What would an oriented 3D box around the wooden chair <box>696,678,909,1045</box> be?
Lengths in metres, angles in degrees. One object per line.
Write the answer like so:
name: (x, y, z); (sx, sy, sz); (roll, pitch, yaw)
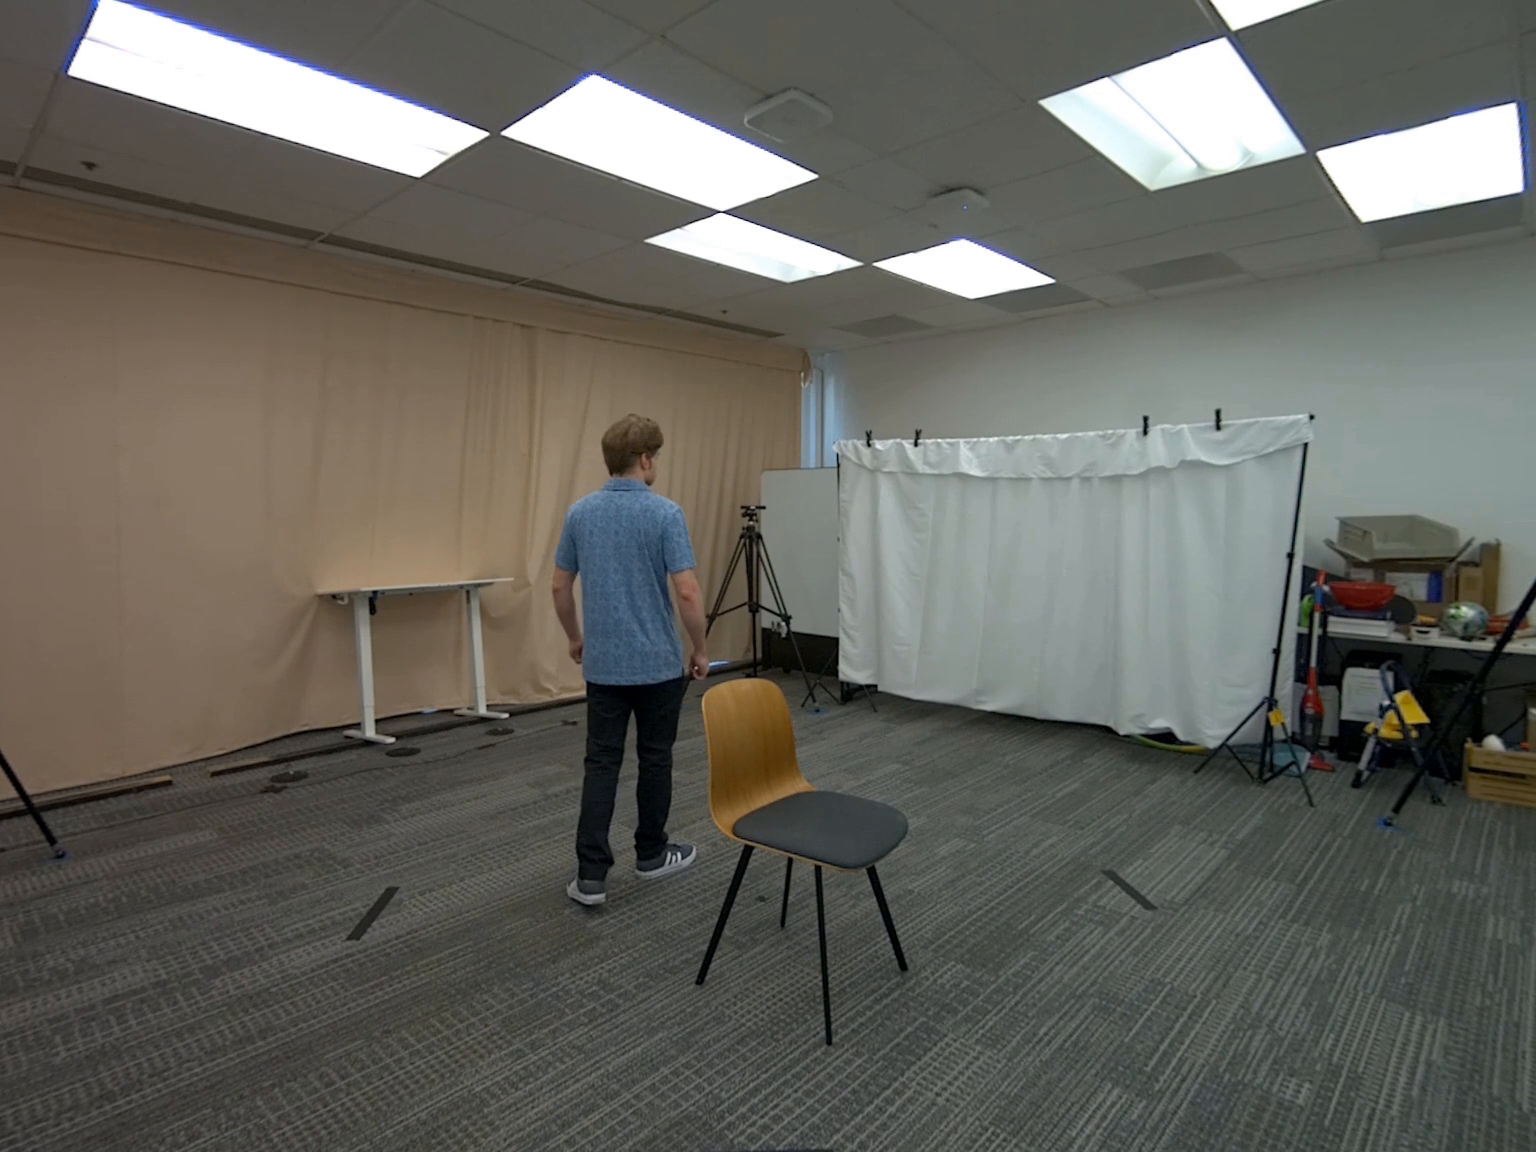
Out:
wooden chair: (0.117, 0.760, 2.450); (0.539, 0.877, 0.464); (-3, 0, 37)
